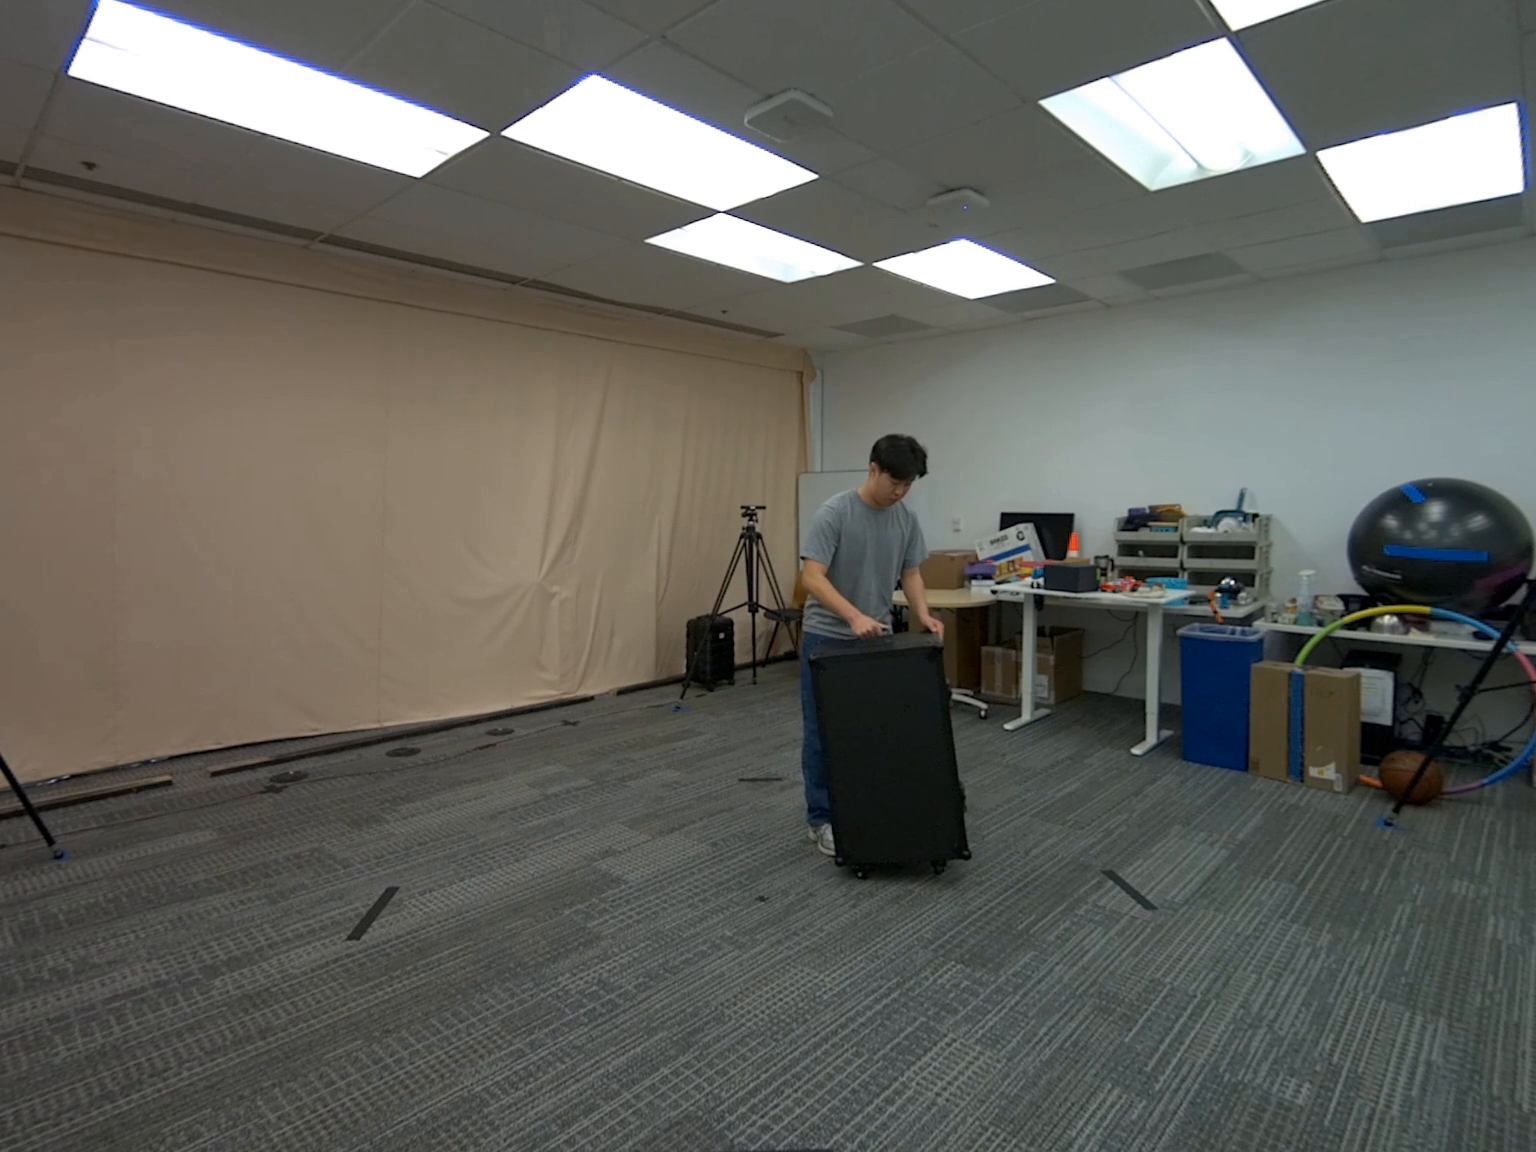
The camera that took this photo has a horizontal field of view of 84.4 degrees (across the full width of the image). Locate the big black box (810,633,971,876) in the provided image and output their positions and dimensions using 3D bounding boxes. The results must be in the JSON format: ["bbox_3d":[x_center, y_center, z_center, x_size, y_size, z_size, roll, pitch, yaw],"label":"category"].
[{"bbox_3d":[0.465,0.673,3.234,0.527,0.860,0.393,-8,2,10],"label":"big black box"}]
